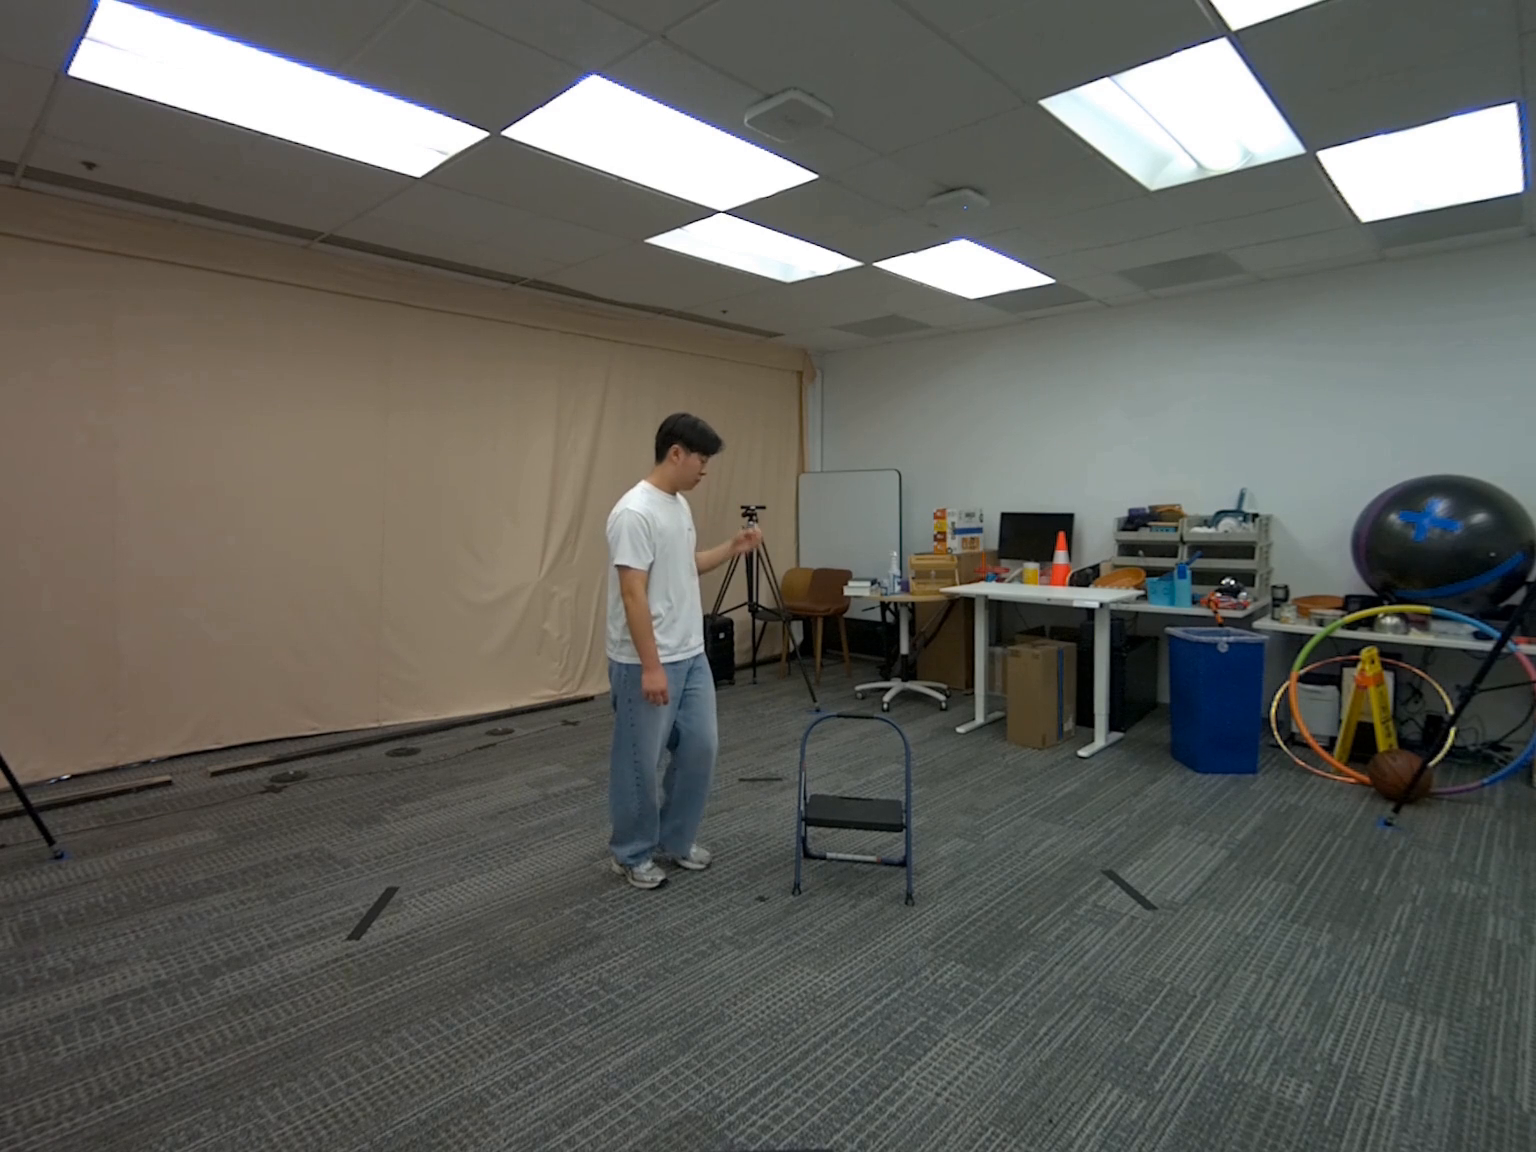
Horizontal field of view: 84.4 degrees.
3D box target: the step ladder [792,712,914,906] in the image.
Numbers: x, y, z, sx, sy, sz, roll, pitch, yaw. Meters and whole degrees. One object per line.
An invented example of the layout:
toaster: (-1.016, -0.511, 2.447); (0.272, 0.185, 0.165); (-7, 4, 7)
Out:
step ladder: (0.329, 0.830, 3.122); (0.435, 0.605, 0.346); (1, 3, 9)
